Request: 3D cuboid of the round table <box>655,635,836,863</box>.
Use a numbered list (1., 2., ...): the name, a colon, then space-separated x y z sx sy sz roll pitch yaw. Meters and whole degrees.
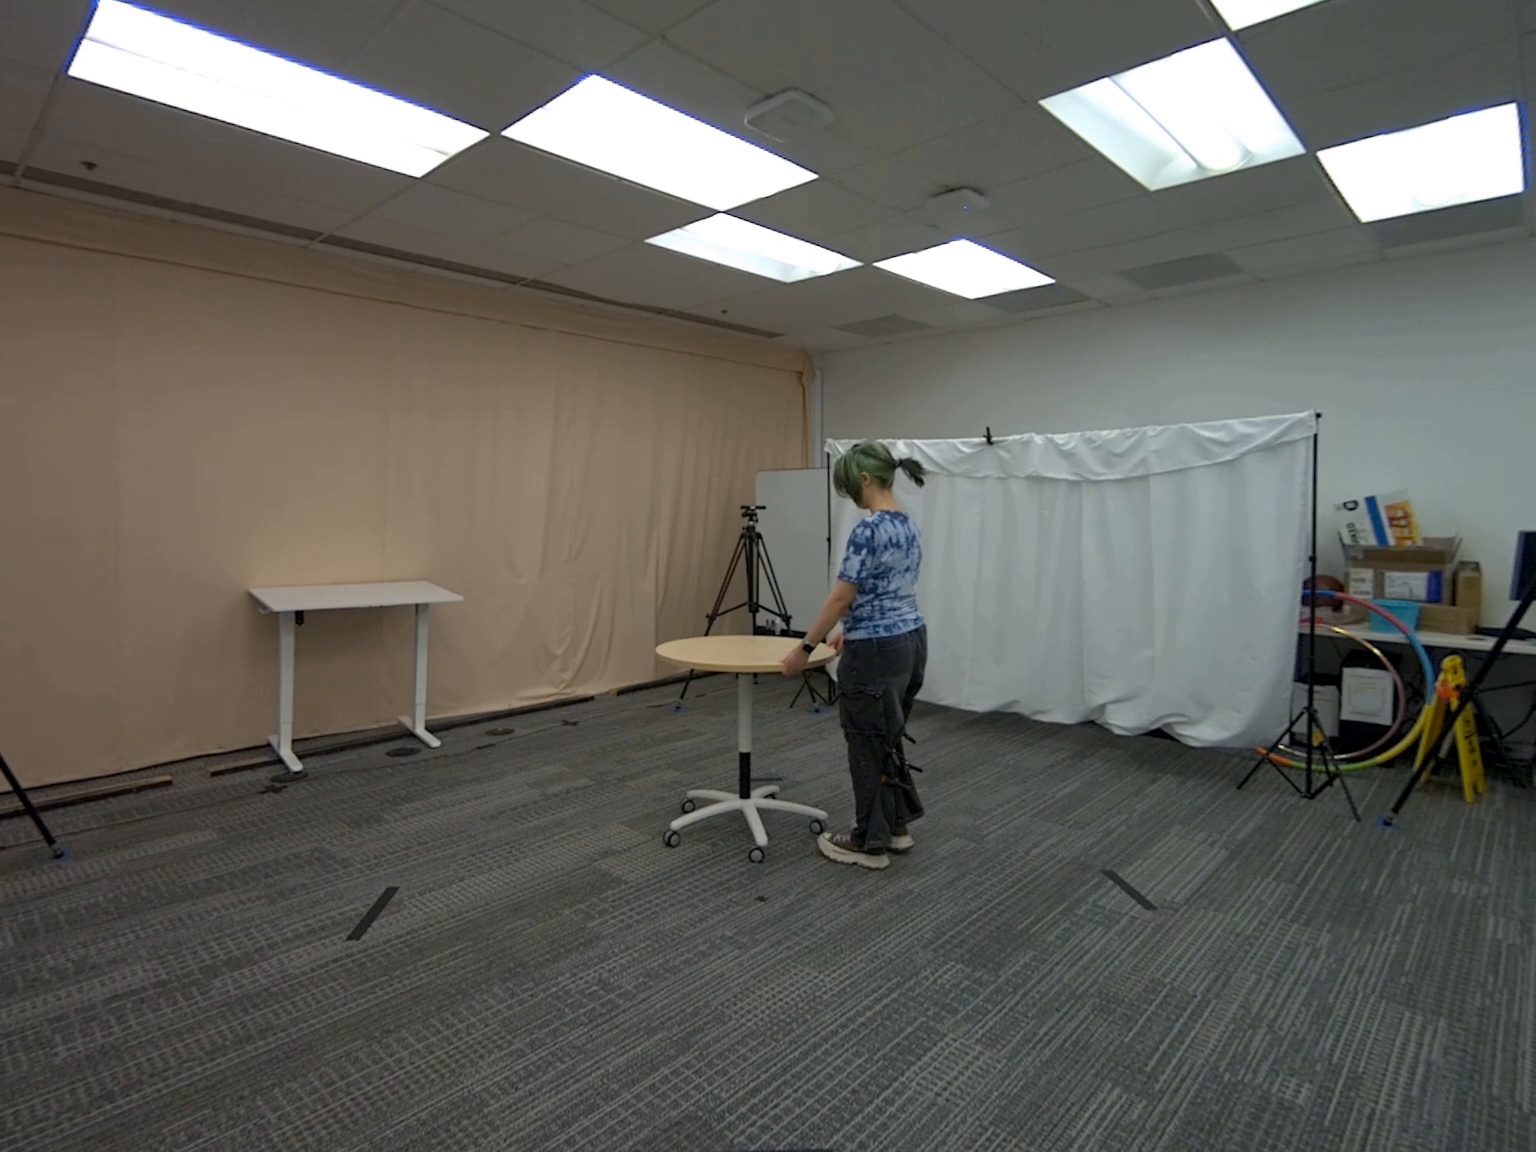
1. round table: -0.107 0.703 3.602 0.763 0.792 0.766 0 3 -2
